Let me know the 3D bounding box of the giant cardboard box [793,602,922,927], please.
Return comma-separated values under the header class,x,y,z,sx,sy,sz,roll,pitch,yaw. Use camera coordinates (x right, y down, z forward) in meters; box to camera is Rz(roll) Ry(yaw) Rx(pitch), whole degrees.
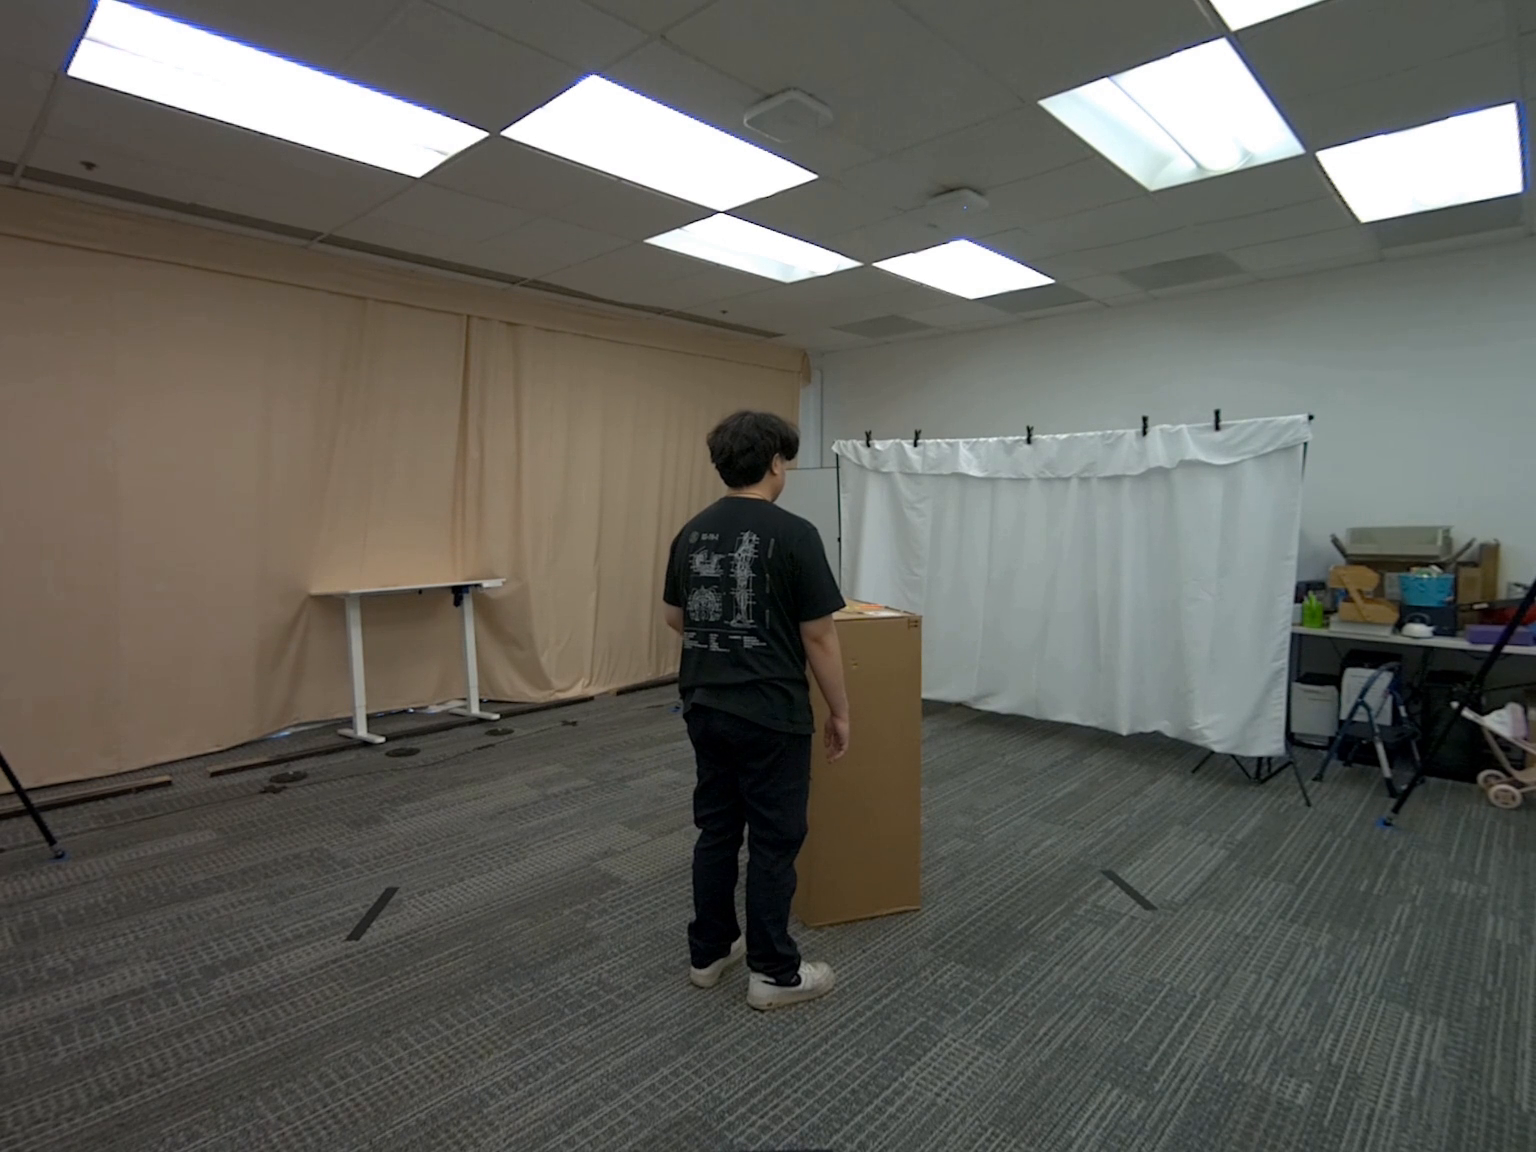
class,x,y,z,sx,sy,sz,roll,pitch,yaw
giant cardboard box,0.230,0.623,3.079,0.438,1.025,0.597,-1,3,-21
